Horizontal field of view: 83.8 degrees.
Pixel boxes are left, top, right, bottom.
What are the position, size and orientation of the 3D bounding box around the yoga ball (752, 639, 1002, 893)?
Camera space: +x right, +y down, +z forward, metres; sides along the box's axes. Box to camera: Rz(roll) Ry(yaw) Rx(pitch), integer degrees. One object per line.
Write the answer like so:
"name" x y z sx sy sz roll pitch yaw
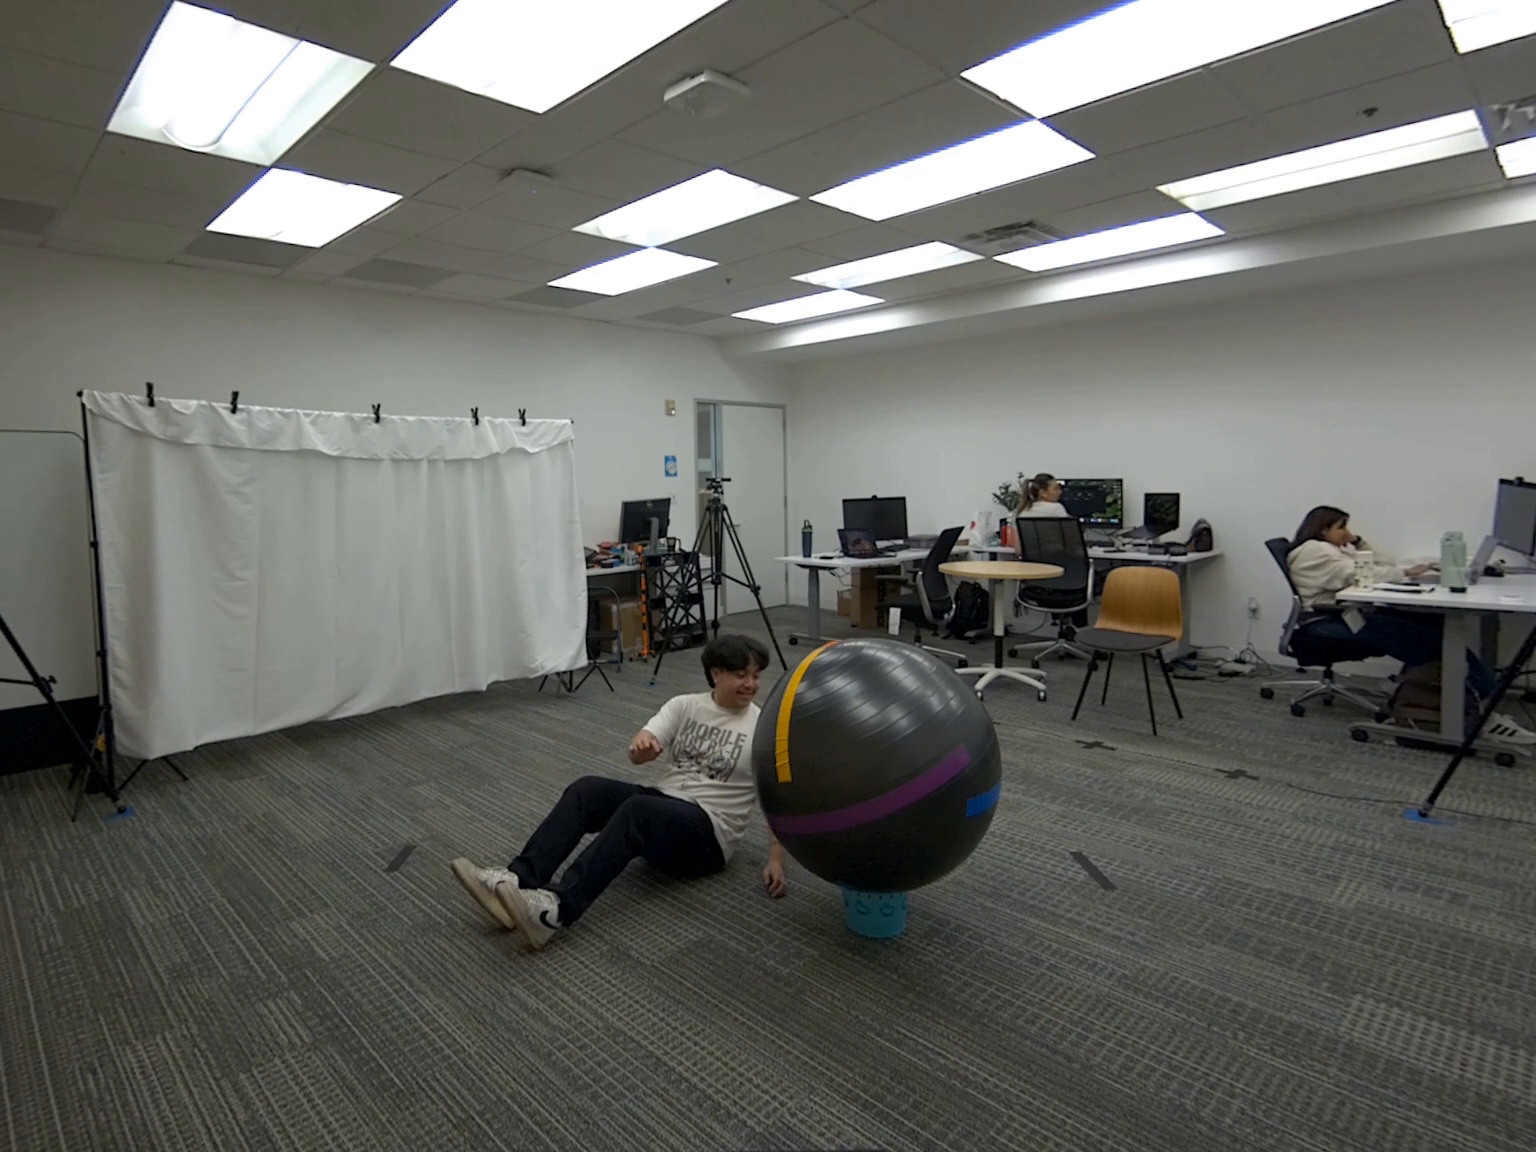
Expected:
"yoga ball" 0.333 0.579 2.634 0.757 0.755 0.762 -1 5 -2
